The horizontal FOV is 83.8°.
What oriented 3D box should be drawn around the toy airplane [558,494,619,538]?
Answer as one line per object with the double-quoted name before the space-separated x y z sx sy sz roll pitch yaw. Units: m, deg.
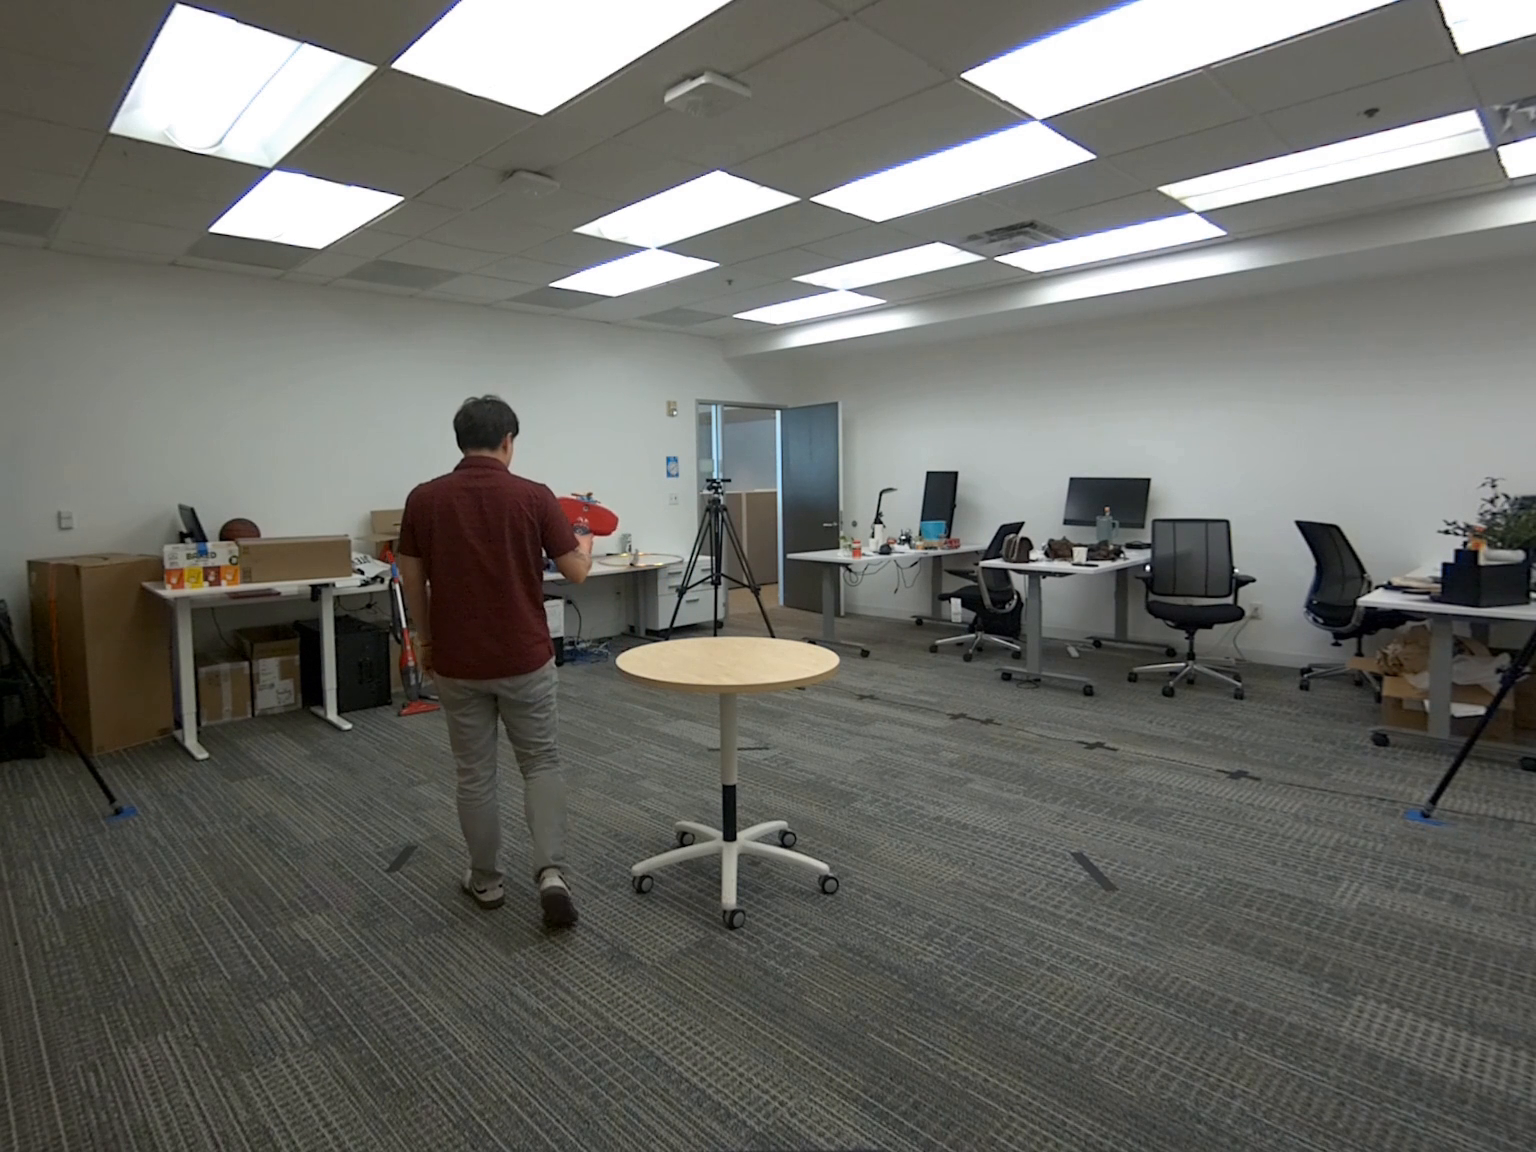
"toy airplane" -0.674 -0.173 3.153 0.246 0.265 0.156 -12 -21 -29
